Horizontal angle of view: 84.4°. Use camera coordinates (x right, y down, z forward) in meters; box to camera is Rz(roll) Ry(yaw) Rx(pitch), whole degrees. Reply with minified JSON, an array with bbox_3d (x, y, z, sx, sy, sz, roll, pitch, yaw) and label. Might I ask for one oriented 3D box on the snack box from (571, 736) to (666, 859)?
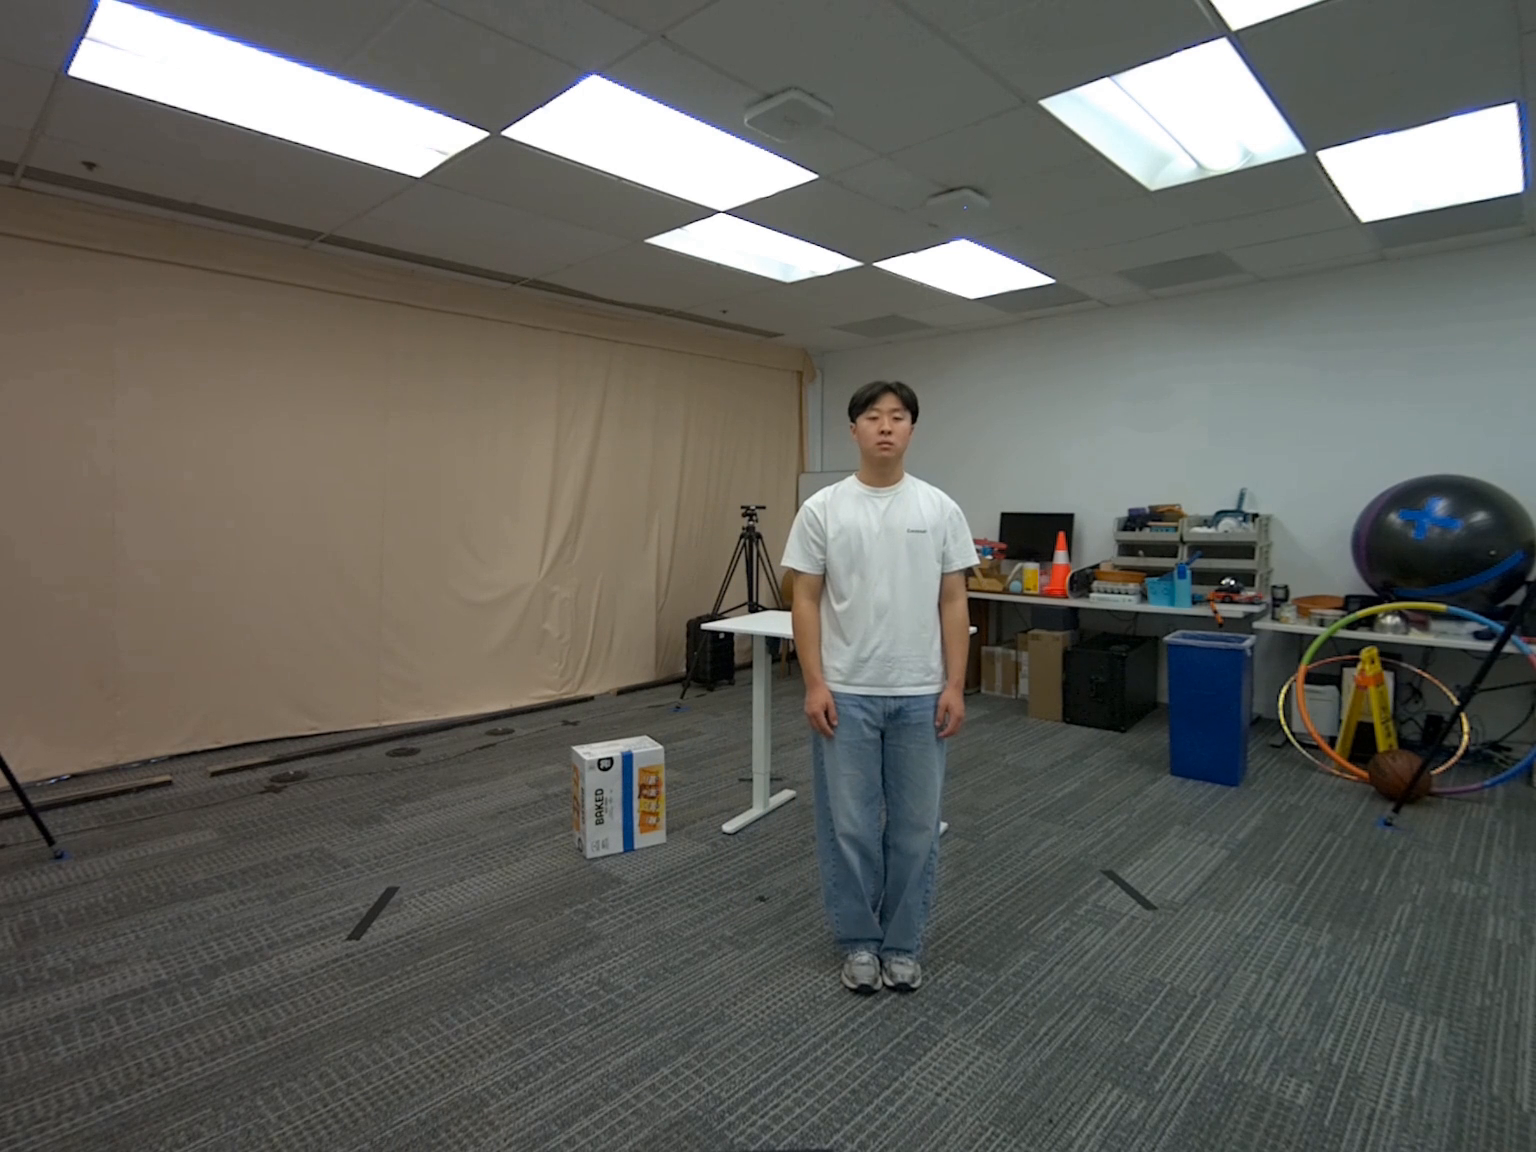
[{"bbox_3d":[-0.620,0.905,3.479,0.332,0.404,0.211,-3,4,-28],"label":"snack box"}]
